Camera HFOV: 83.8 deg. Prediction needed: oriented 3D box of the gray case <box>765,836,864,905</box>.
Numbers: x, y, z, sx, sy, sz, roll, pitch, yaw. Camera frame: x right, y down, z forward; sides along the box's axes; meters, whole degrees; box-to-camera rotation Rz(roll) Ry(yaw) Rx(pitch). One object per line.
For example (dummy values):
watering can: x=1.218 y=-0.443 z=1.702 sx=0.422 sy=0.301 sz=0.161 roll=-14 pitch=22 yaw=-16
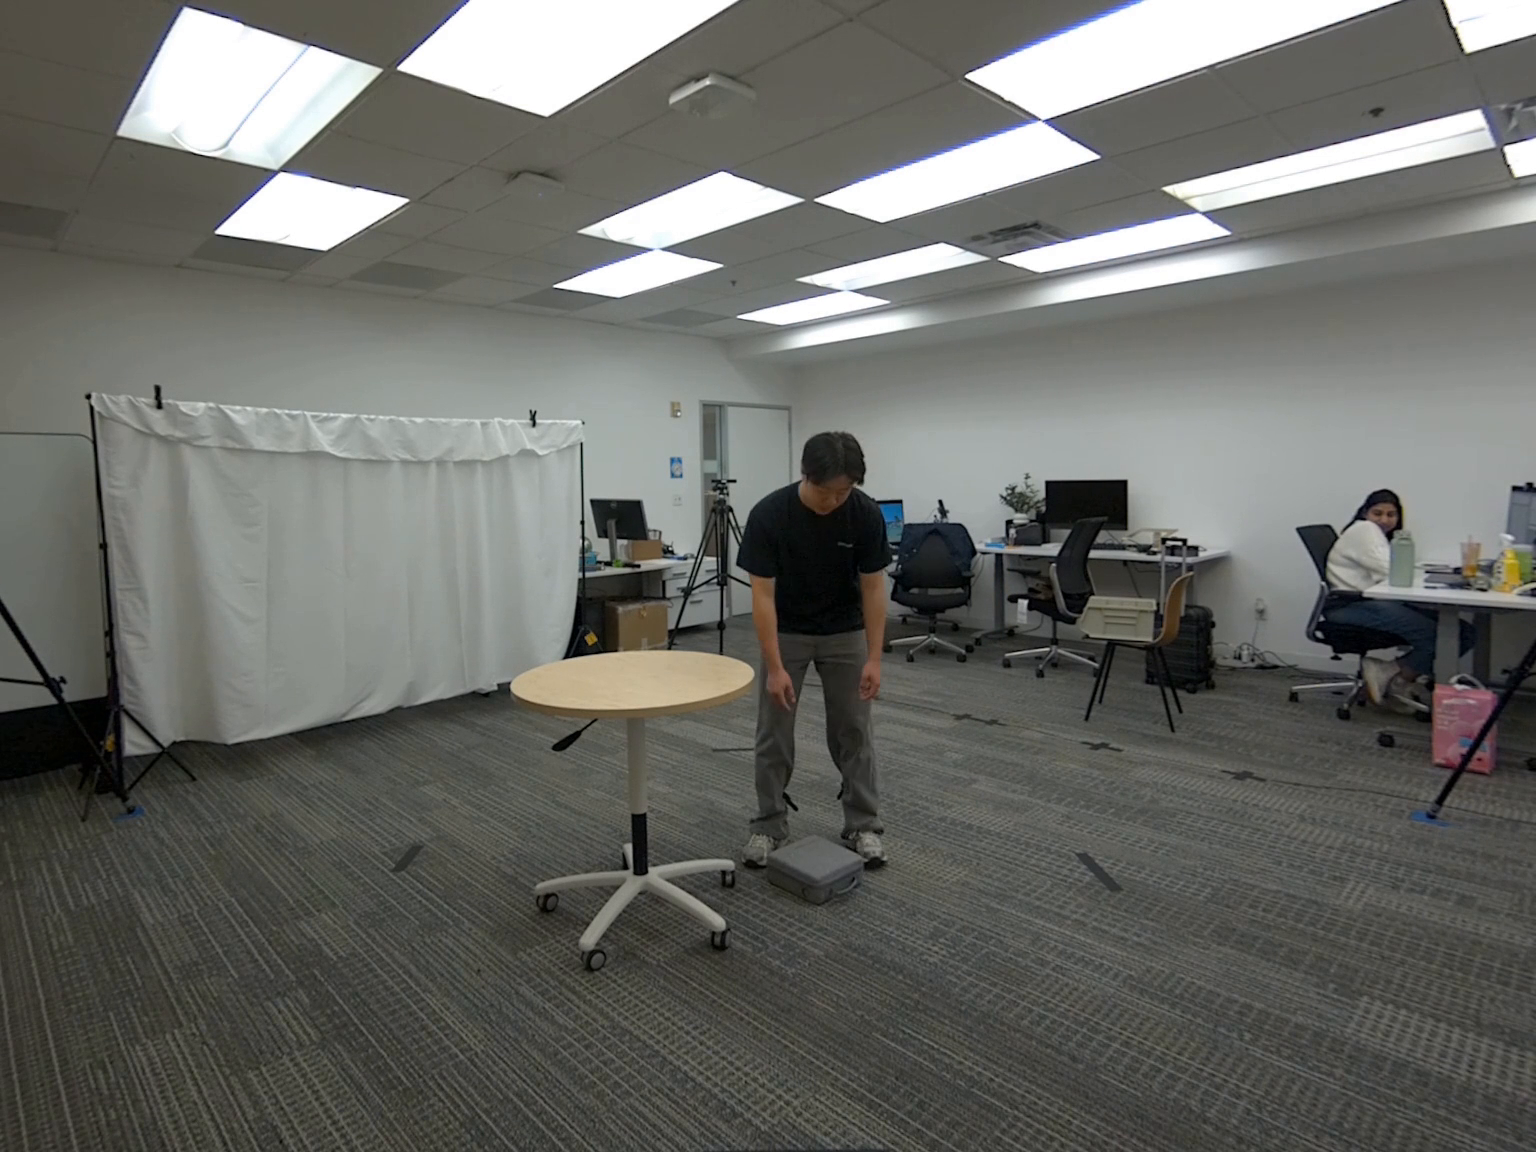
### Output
gray case: x=0.175 y=1.013 z=2.936 sx=0.256 sy=0.102 sz=0.296 roll=-6 pitch=9 yaw=-41
